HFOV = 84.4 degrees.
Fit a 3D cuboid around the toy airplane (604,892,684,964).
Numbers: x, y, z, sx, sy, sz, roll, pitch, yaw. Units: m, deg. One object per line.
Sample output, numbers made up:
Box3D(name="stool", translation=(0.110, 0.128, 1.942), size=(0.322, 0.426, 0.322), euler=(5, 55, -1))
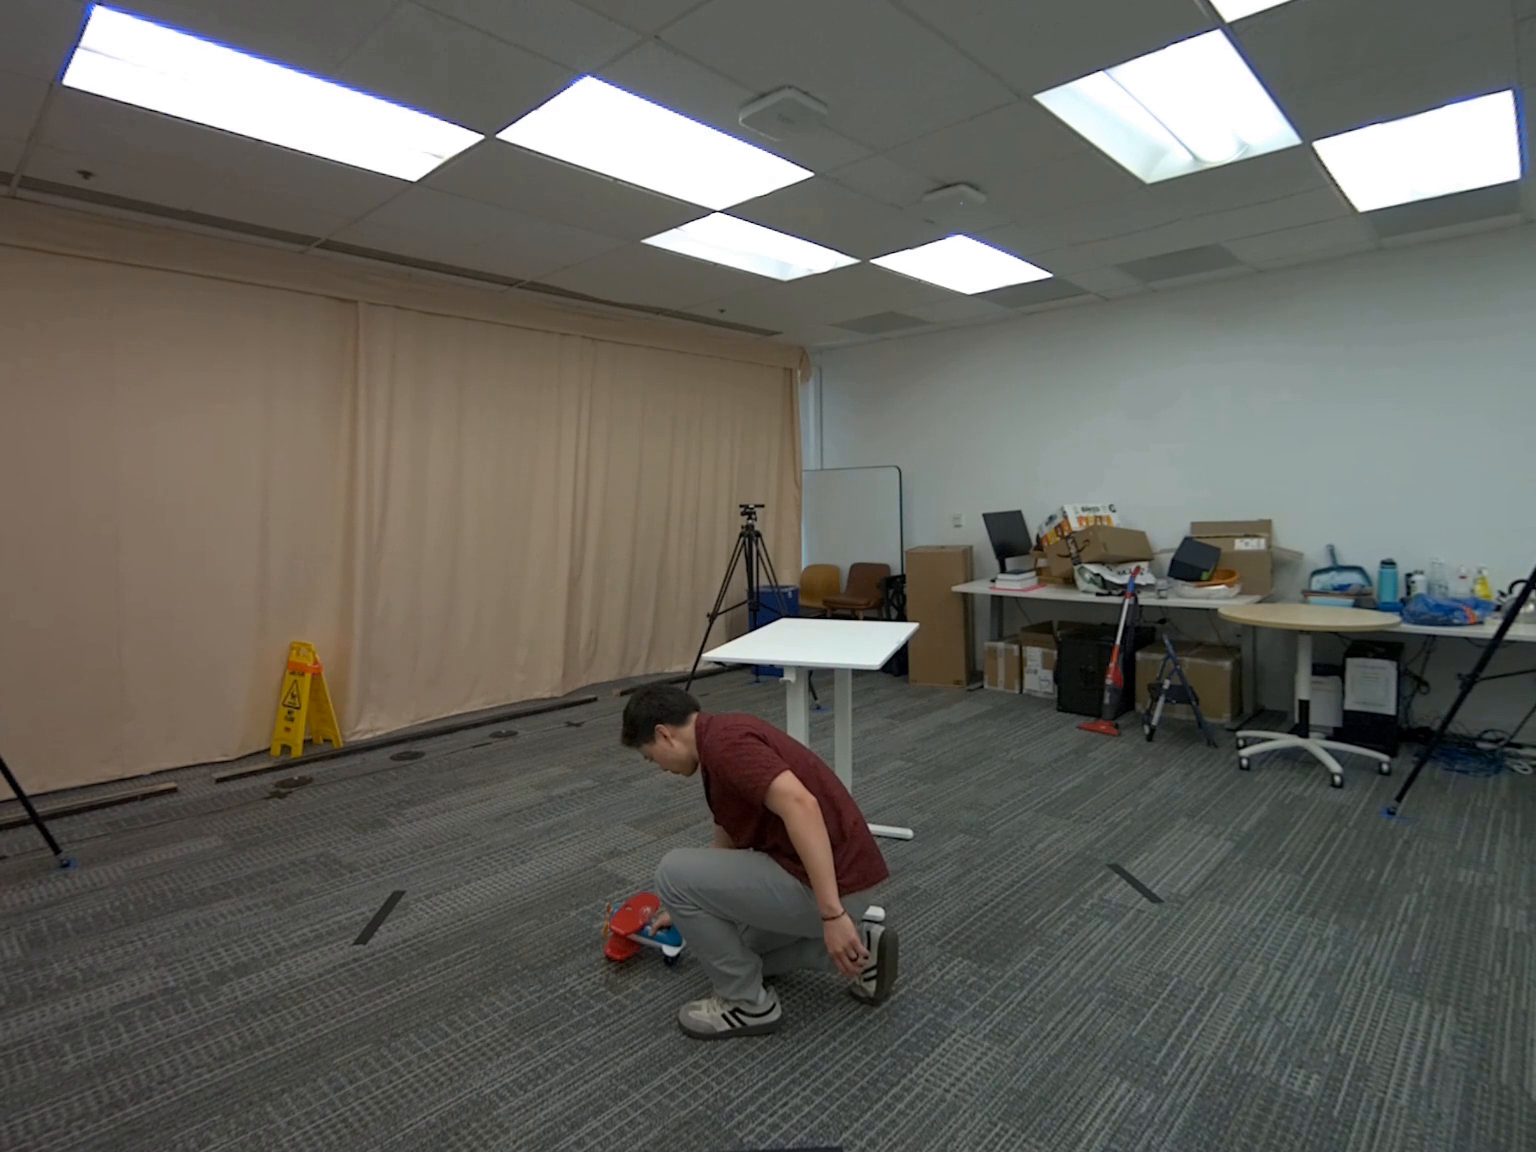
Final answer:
Box3D(name="toy airplane", translation=(-0.374, 1.108, 2.617), size=(0.257, 0.156, 0.254), euler=(-3, 3, -9))
